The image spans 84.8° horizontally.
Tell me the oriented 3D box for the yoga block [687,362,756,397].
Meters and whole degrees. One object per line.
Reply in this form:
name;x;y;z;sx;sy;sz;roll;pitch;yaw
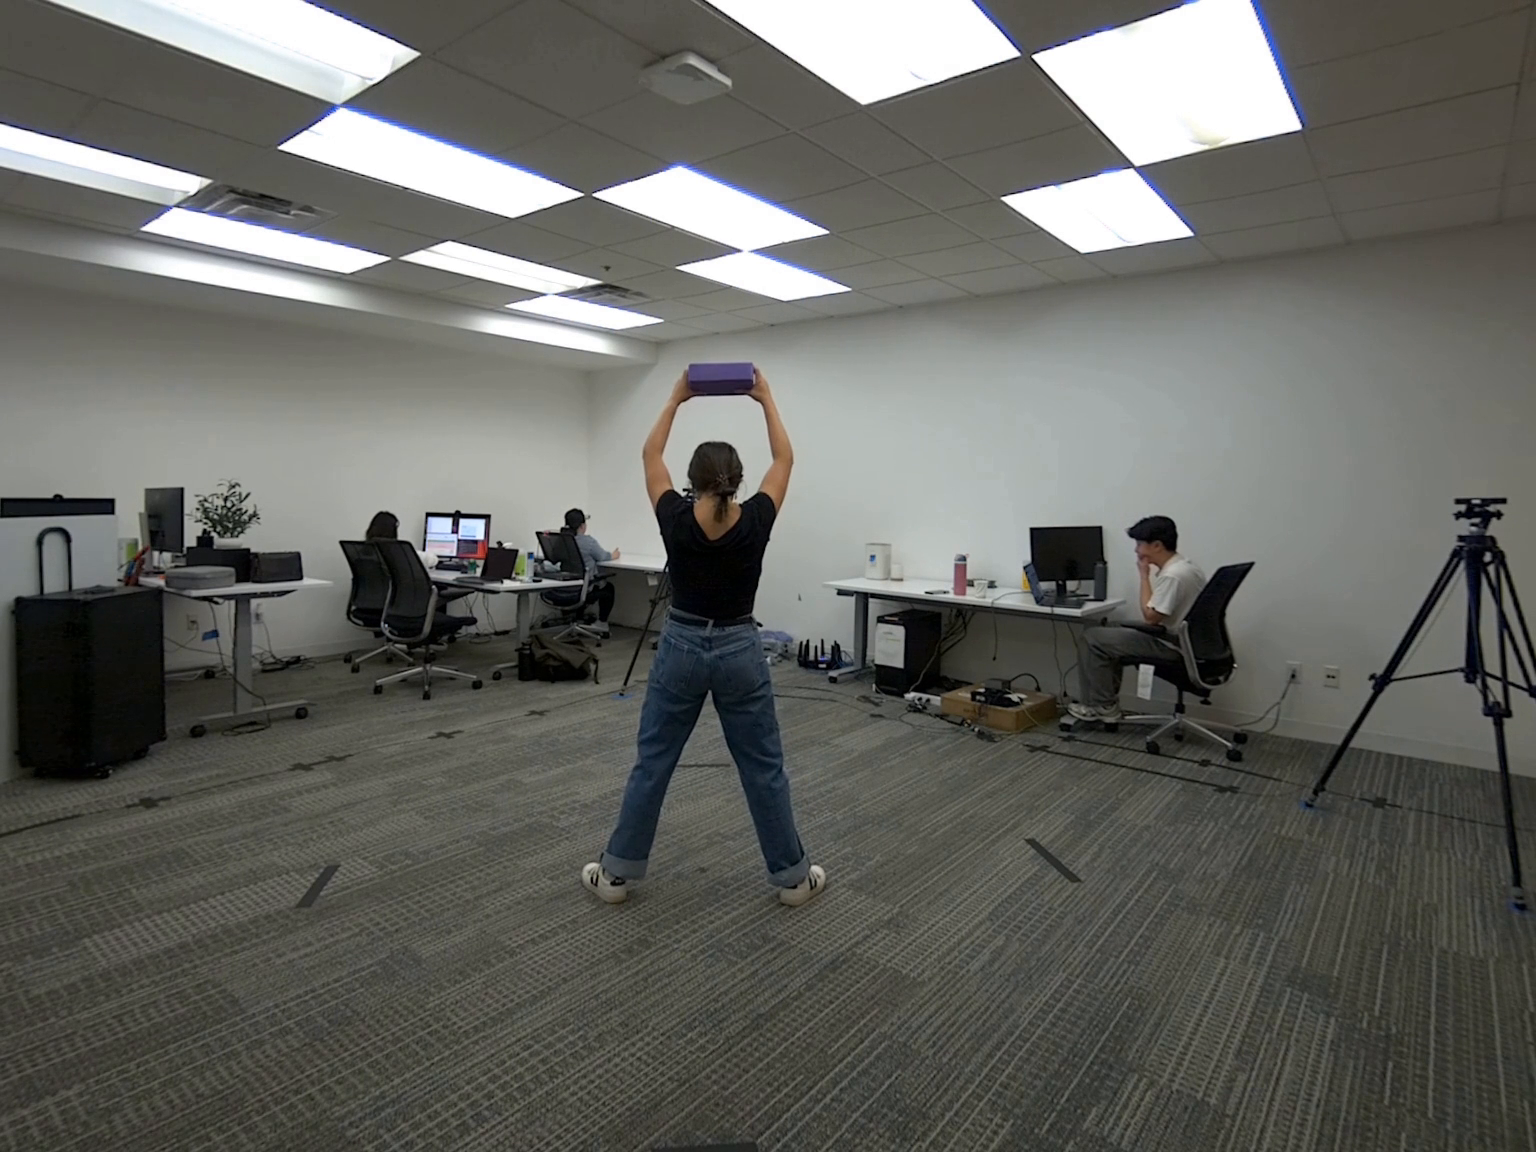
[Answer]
yoga block;-0.169;-0.714;3.059;0.231;0.077;0.146;-1;-8;6
